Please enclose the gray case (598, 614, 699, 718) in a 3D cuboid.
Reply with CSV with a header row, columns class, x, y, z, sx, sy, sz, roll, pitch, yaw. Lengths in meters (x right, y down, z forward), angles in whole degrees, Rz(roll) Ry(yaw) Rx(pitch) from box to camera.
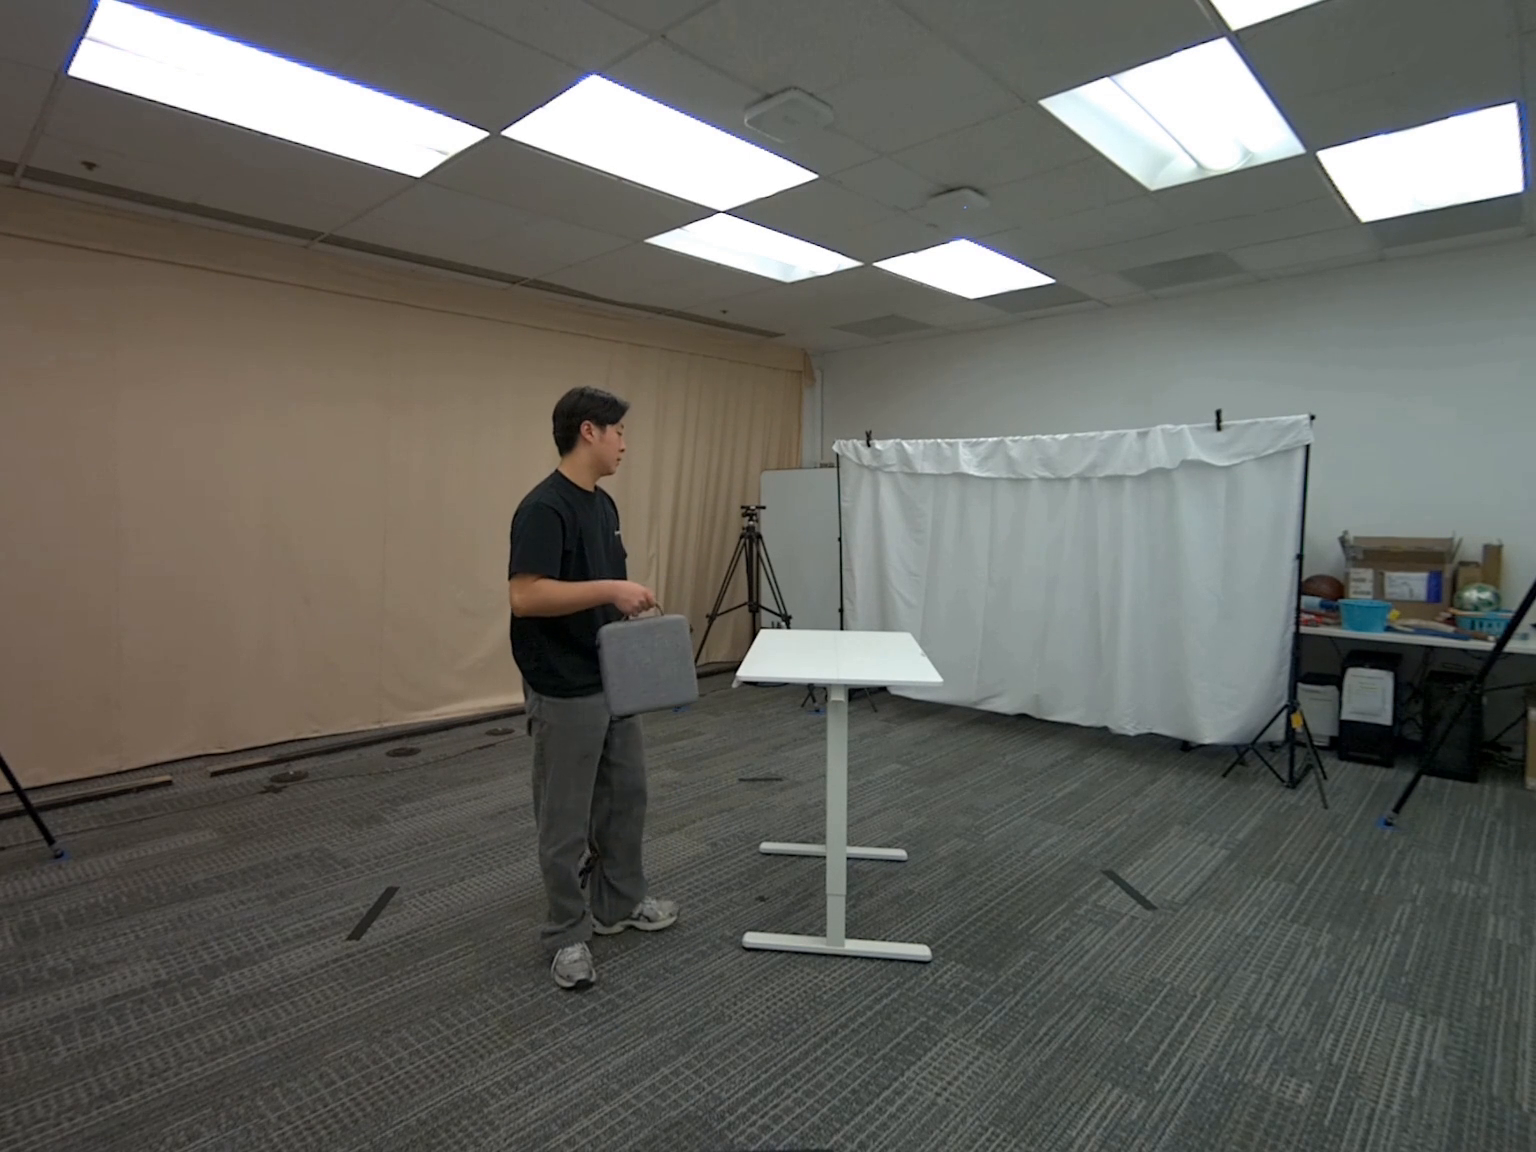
class,x,y,z,sx,sy,sz,roll,pitch,yaw
gray case,-0.328,0.235,2.314,0.260,0.288,0.103,-8,-6,-11
